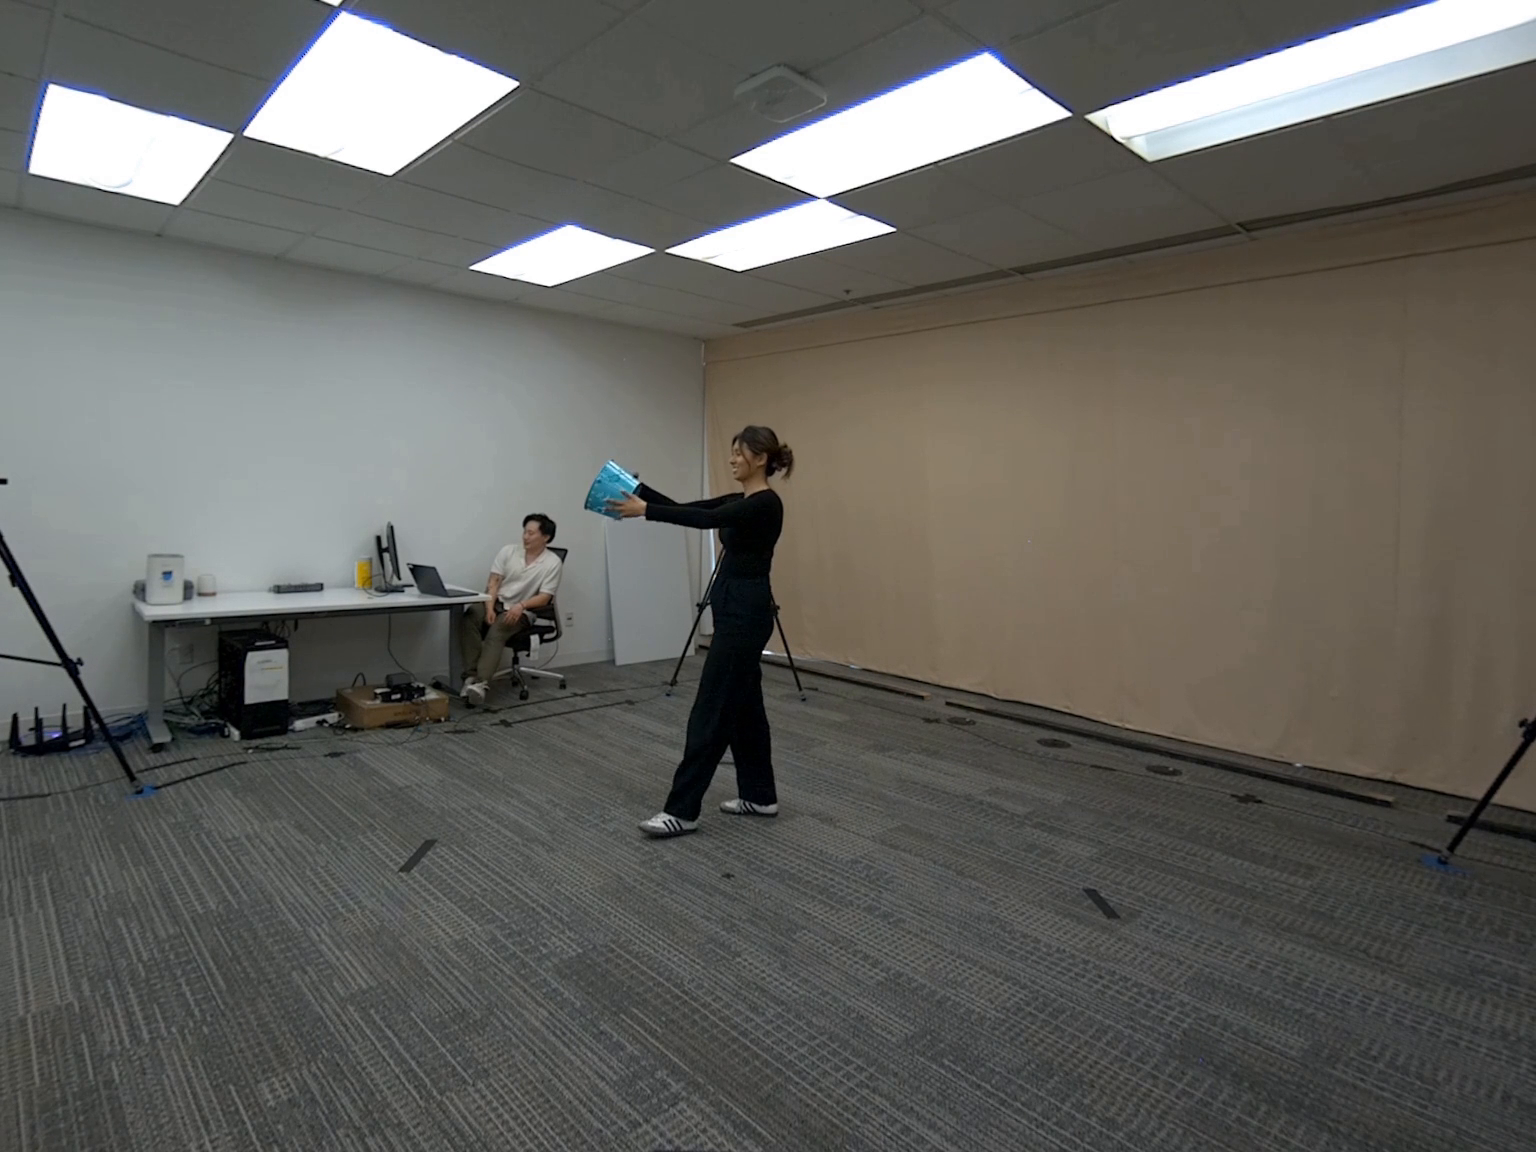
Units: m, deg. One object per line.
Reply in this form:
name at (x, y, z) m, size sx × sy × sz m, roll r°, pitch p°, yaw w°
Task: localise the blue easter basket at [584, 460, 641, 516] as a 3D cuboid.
blue easter basket at (-0.639, -0.345, 3.430) m, size 0.156 × 0.243 × 0.244 m, roll 29°, pitch 5°, yaw -1°
